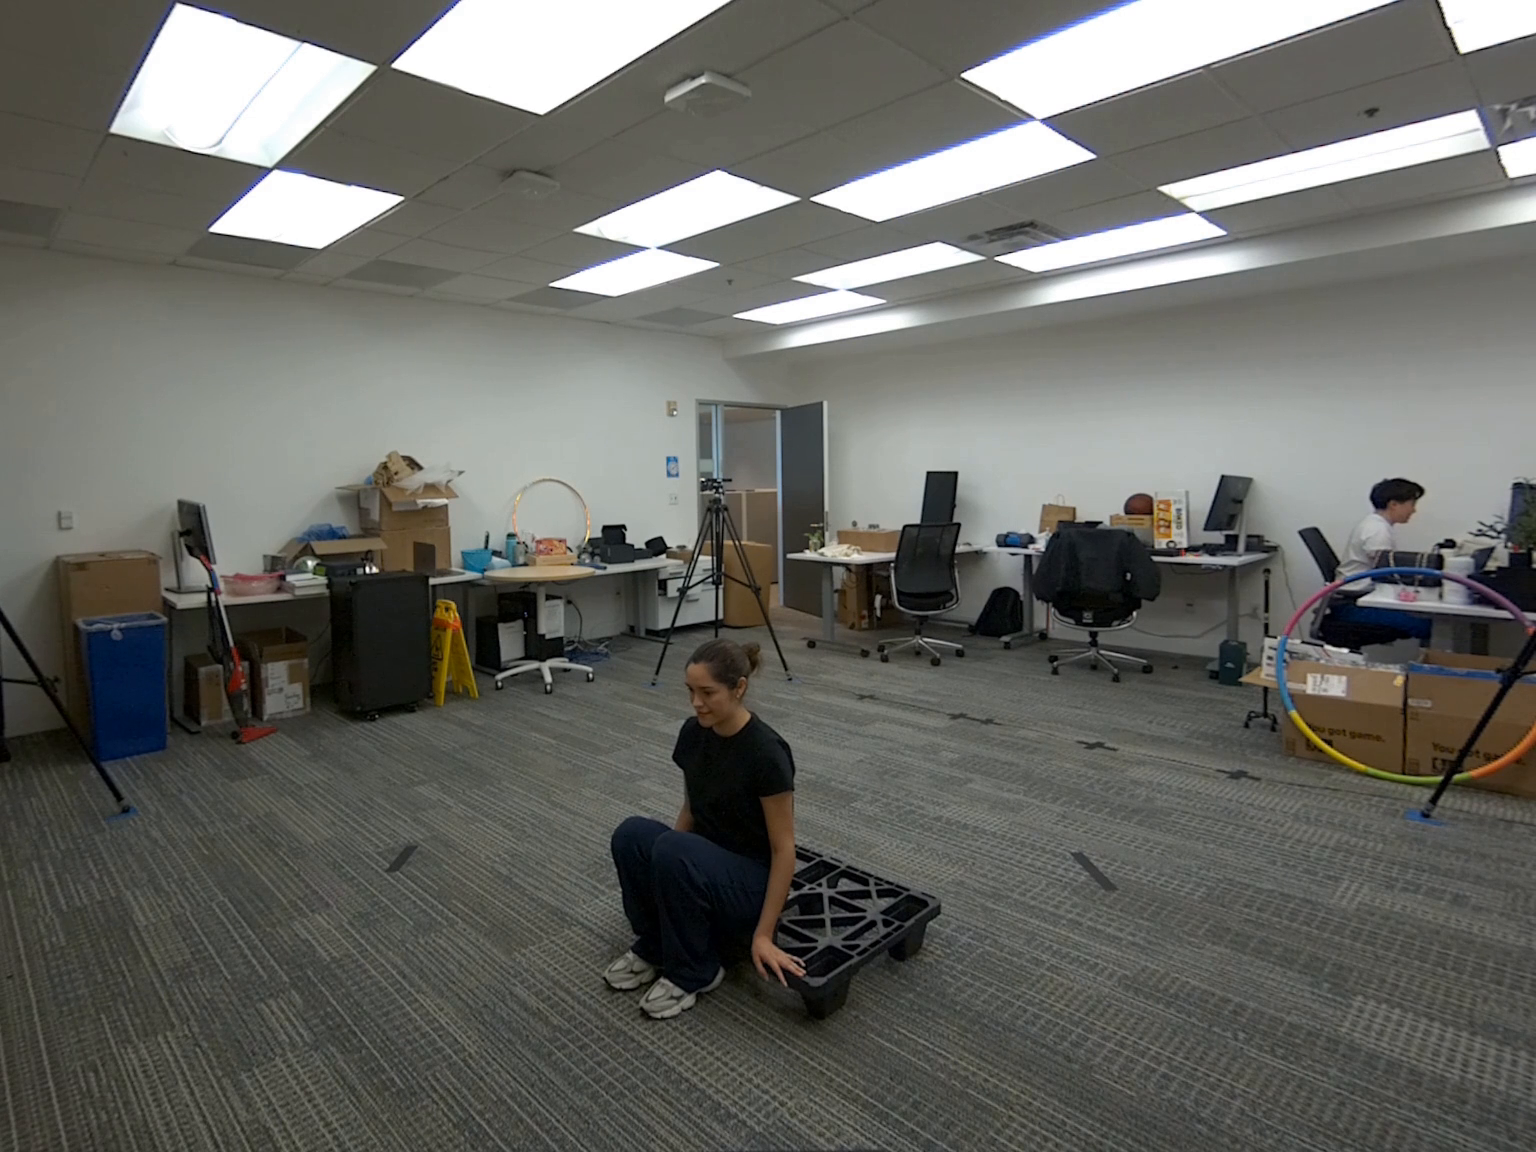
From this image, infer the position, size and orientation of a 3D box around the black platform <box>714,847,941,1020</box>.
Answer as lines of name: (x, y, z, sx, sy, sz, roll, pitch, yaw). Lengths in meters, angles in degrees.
black platform: (0.033, 1.029, 2.645, 0.831, 0.143, 0.589, 6, 9, 43)
